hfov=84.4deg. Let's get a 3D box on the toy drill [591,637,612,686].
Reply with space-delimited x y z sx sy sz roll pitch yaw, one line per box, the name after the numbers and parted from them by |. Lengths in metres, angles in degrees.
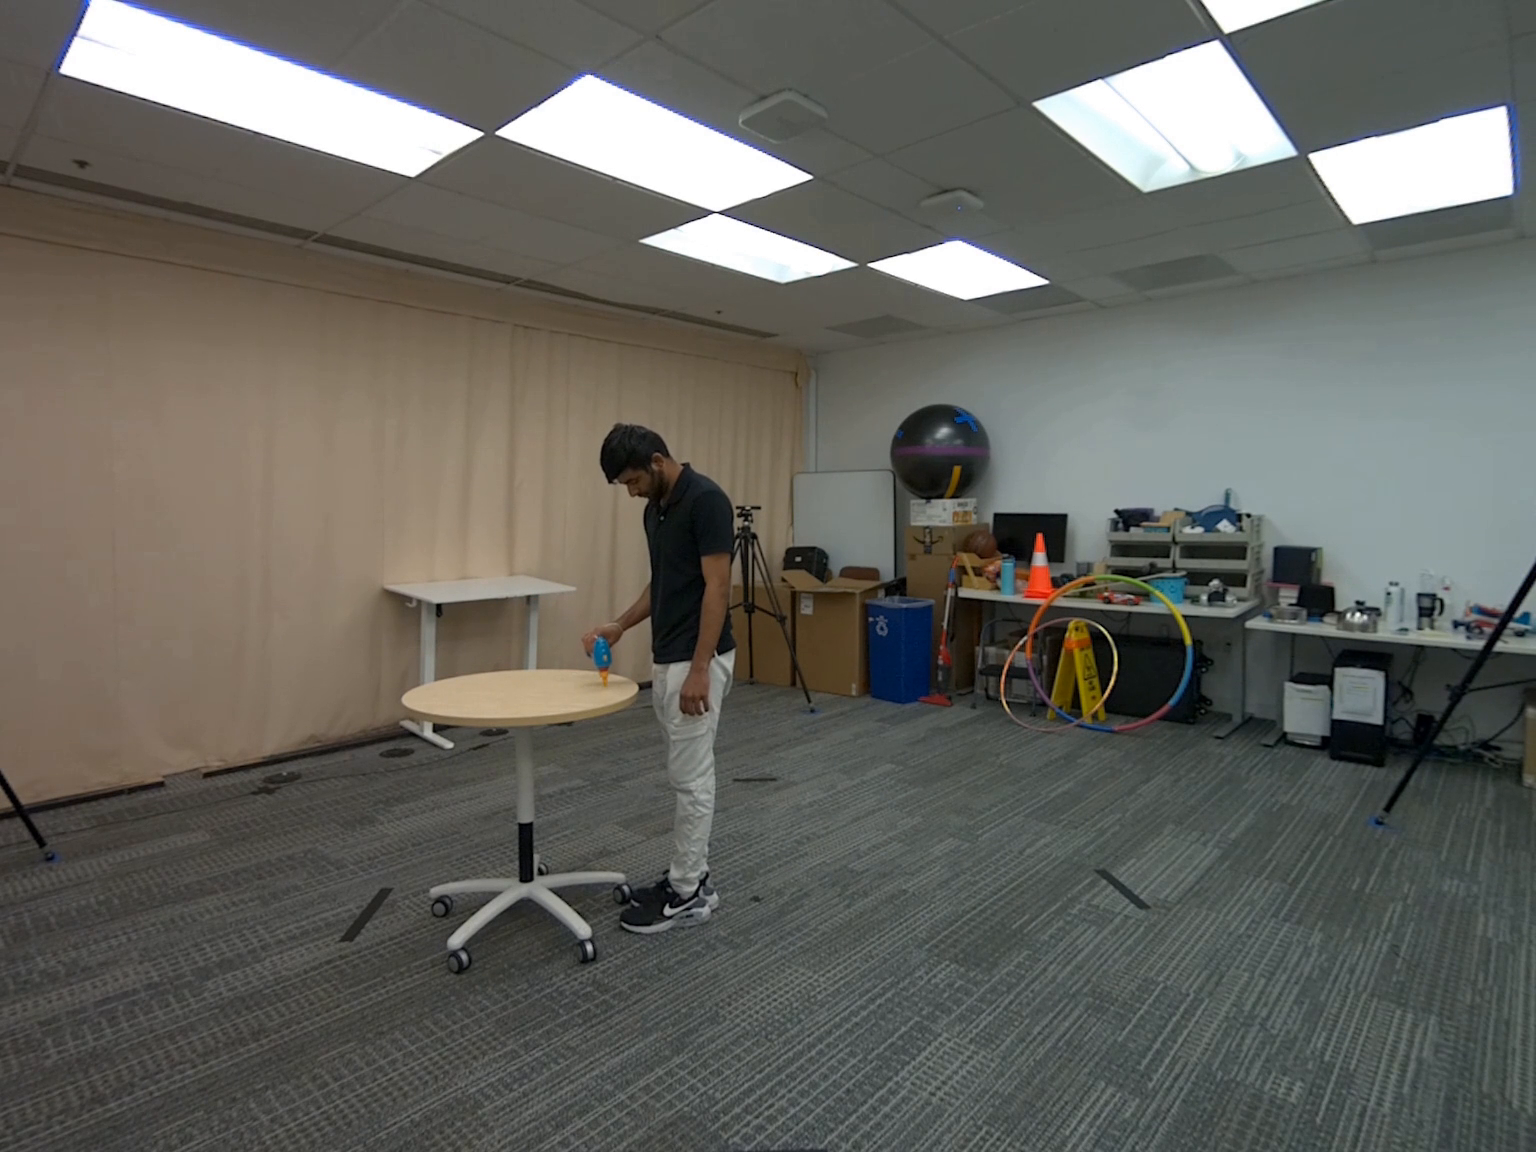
-0.574 0.289 2.881 0.060 0.169 0.150 -10 7 -24 | toy drill
